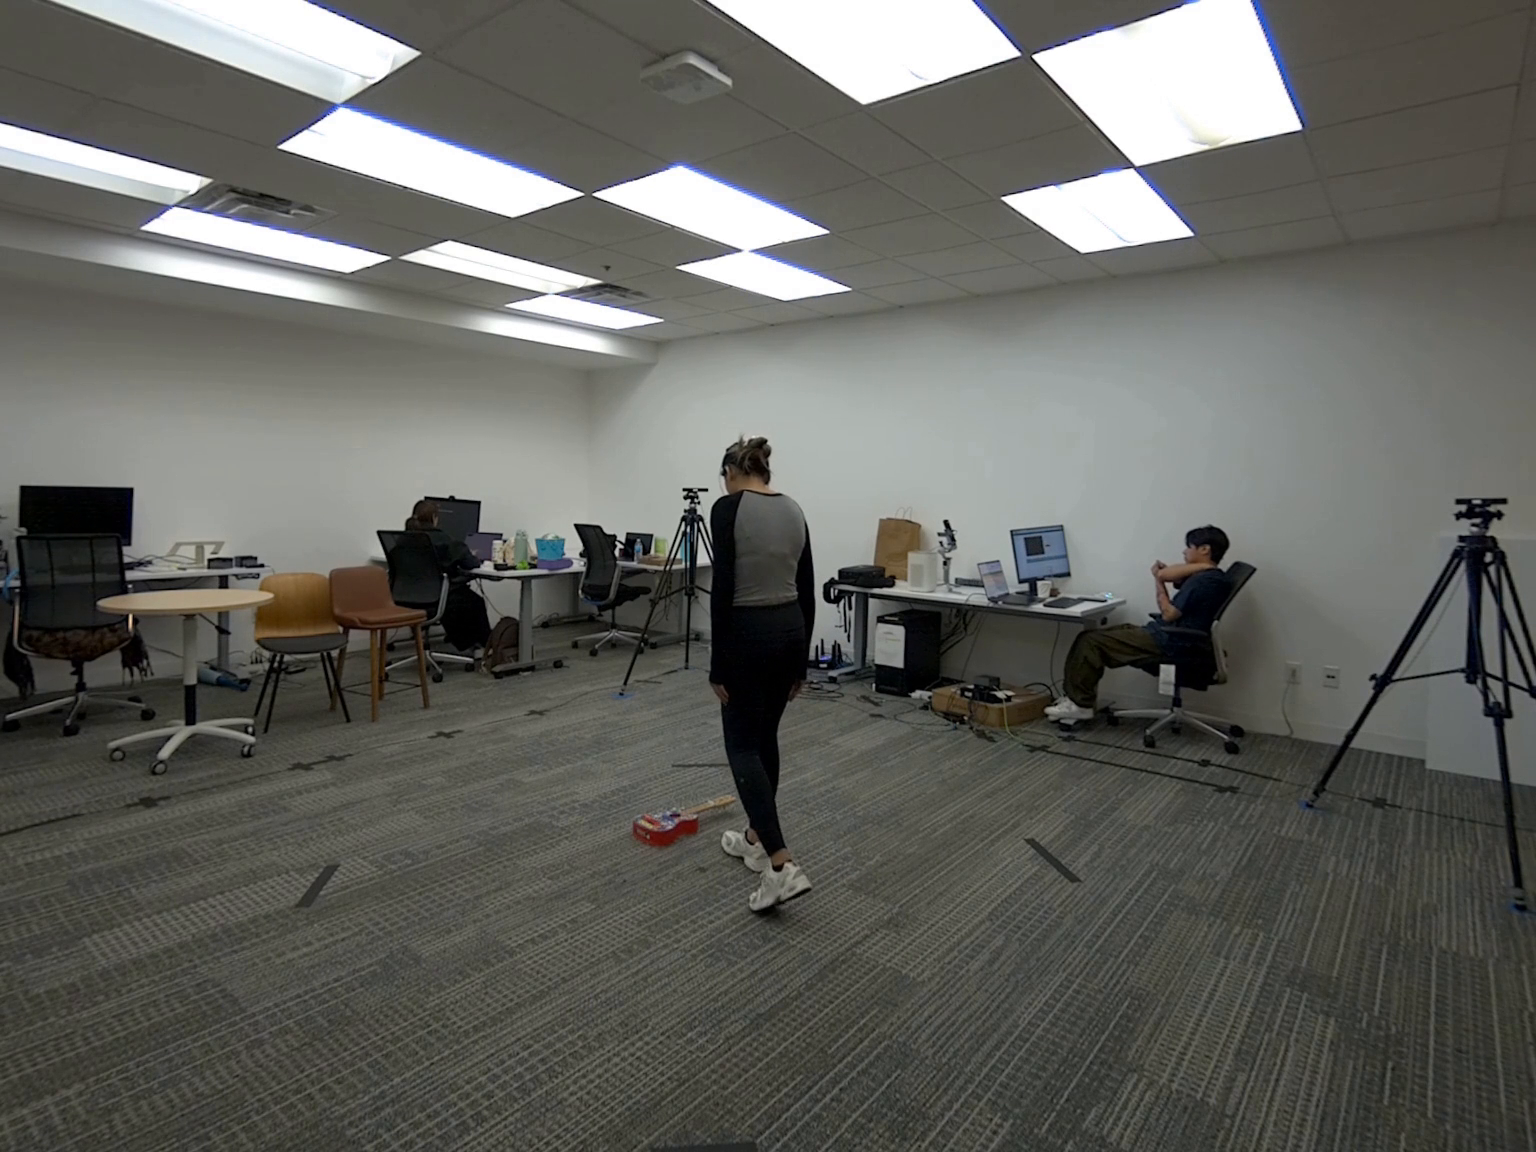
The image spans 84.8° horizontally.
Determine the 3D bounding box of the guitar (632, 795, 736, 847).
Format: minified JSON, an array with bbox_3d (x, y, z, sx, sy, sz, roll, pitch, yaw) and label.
[{"bbox_3d":[-0.321,0.995,3.487,0.484,0.070,0.199,-4,7,-33],"label":"guitar"}]
